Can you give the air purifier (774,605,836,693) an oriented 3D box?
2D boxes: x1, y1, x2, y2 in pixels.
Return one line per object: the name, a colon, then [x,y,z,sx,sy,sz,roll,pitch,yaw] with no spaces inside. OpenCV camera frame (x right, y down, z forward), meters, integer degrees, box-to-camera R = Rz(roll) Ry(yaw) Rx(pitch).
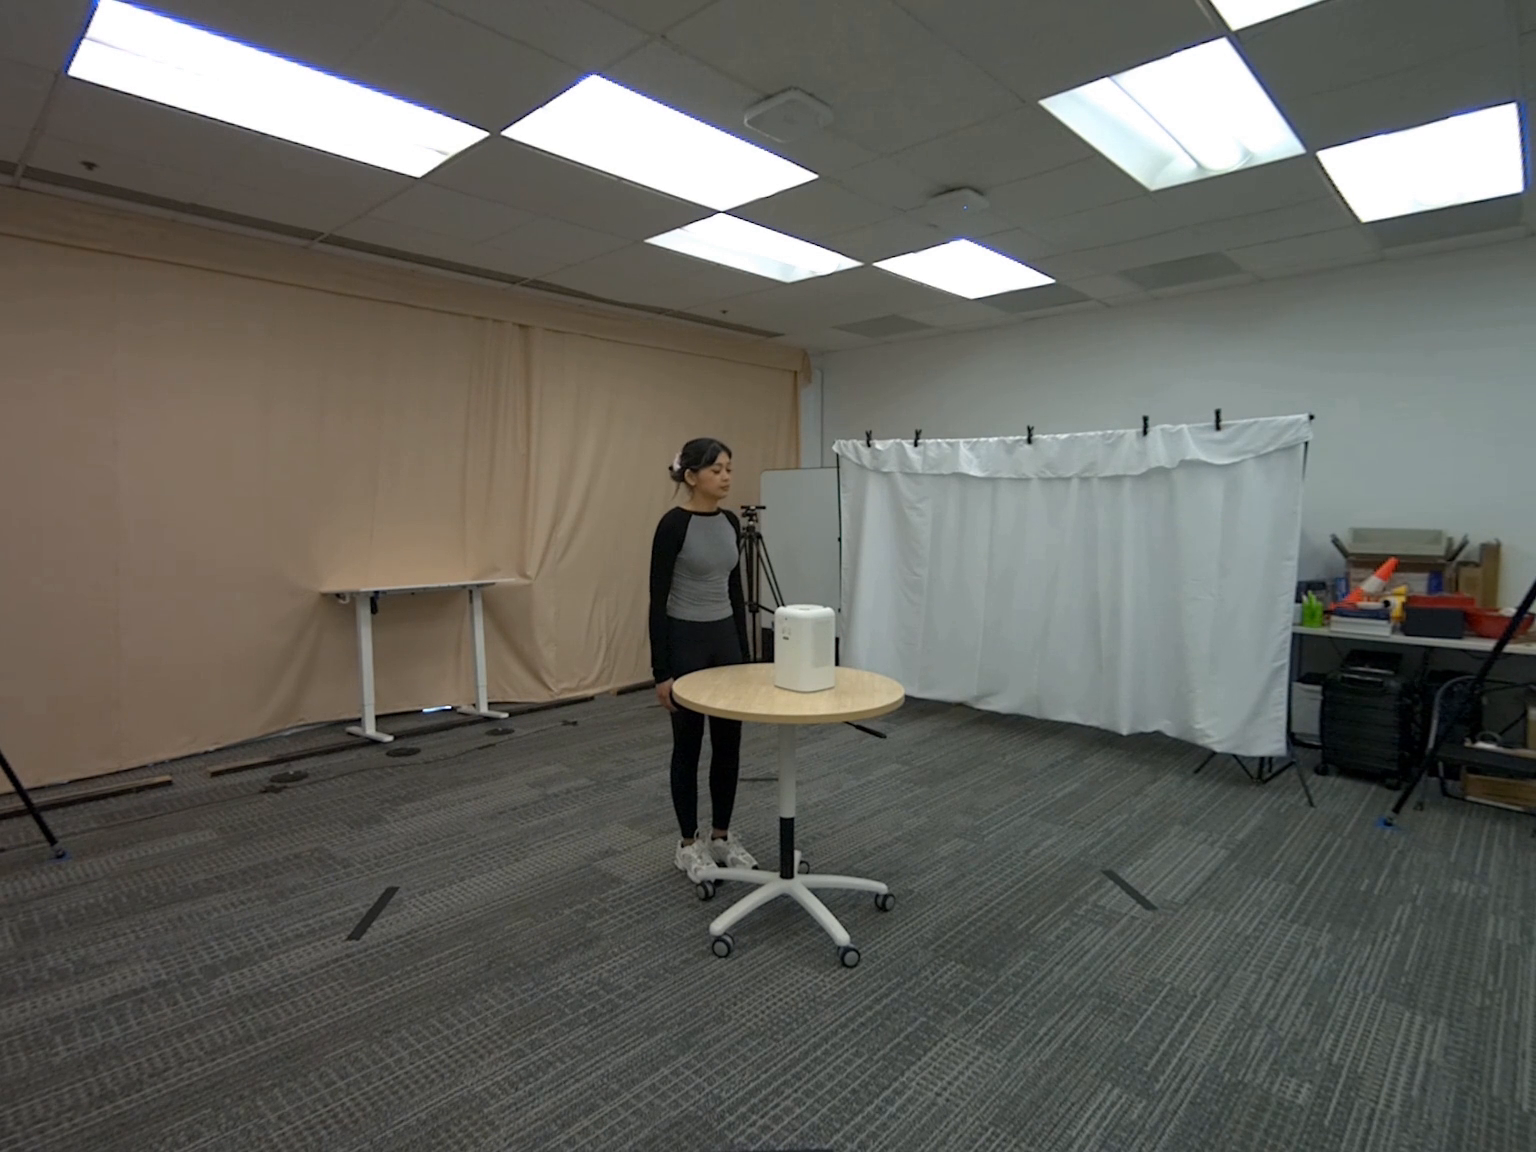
air purifier: [0.126,0.233,2.789,0.166,0.265,0.177,-4,6,-42]
